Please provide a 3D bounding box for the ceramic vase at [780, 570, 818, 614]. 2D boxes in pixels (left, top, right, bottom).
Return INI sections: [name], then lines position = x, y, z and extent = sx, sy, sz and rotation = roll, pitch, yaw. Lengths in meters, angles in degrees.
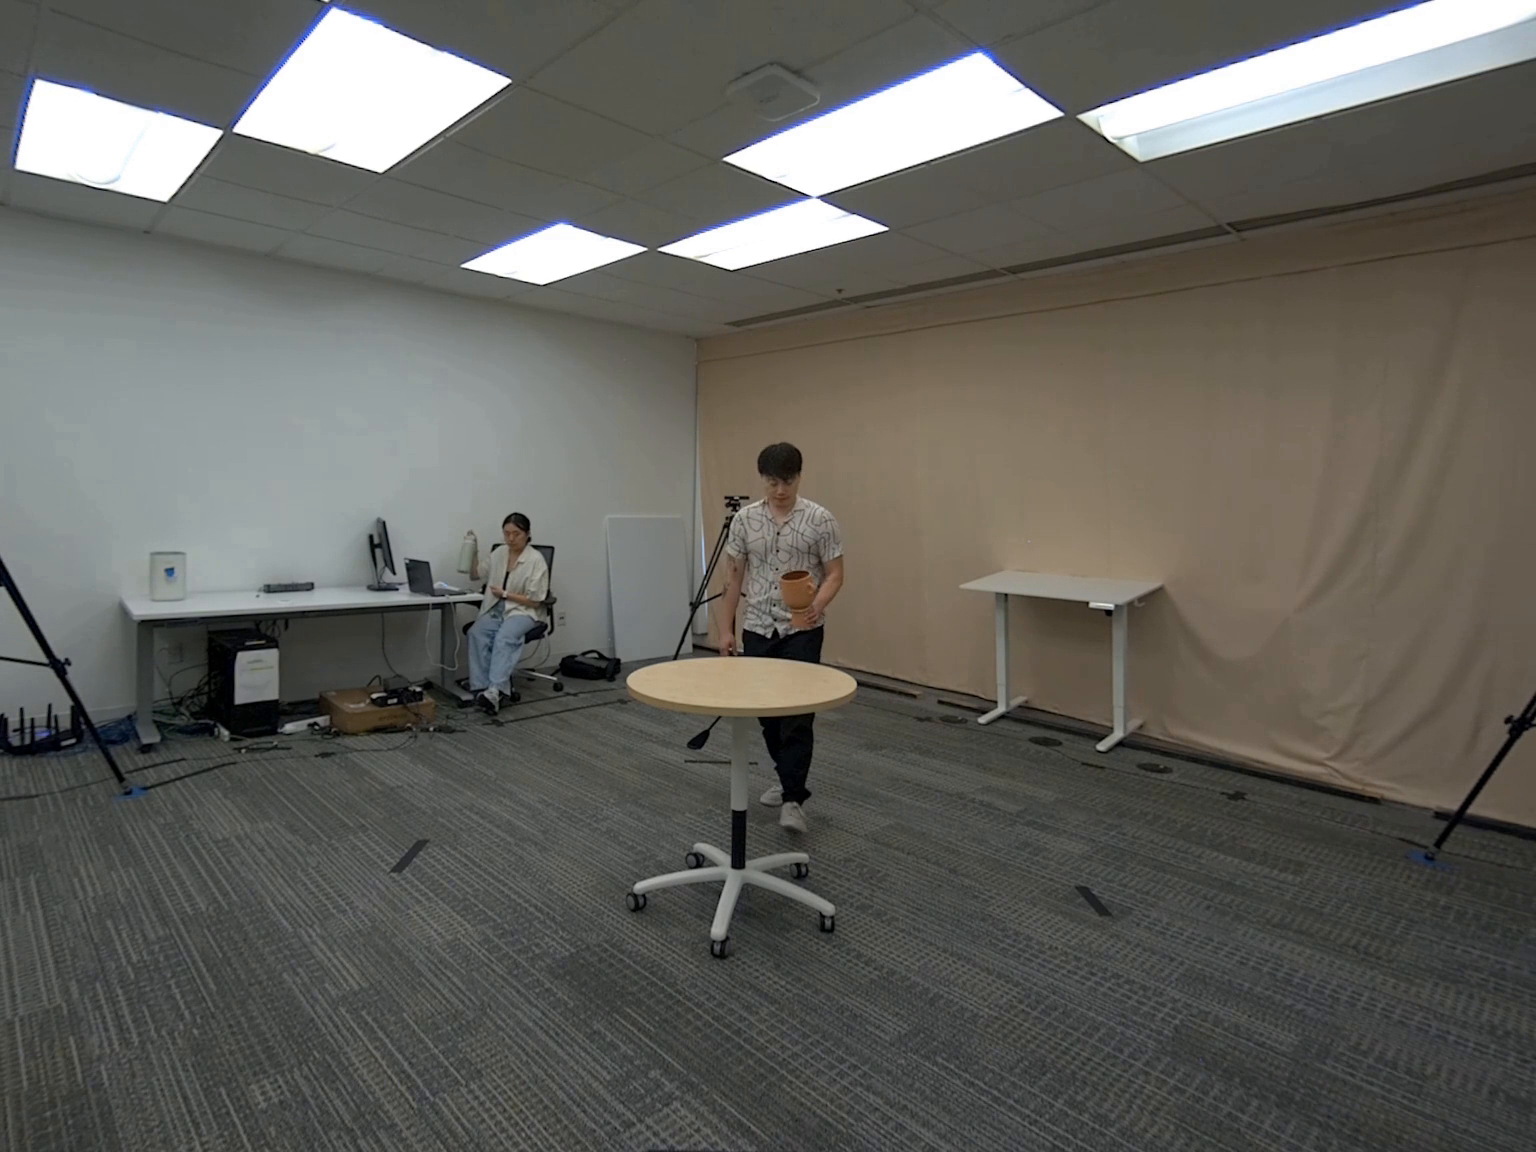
[ceramic vase]
position = 0.103, 0.097, 3.491
extent = 0.134, 0.216, 0.161
rotation = -10, 18, -2
